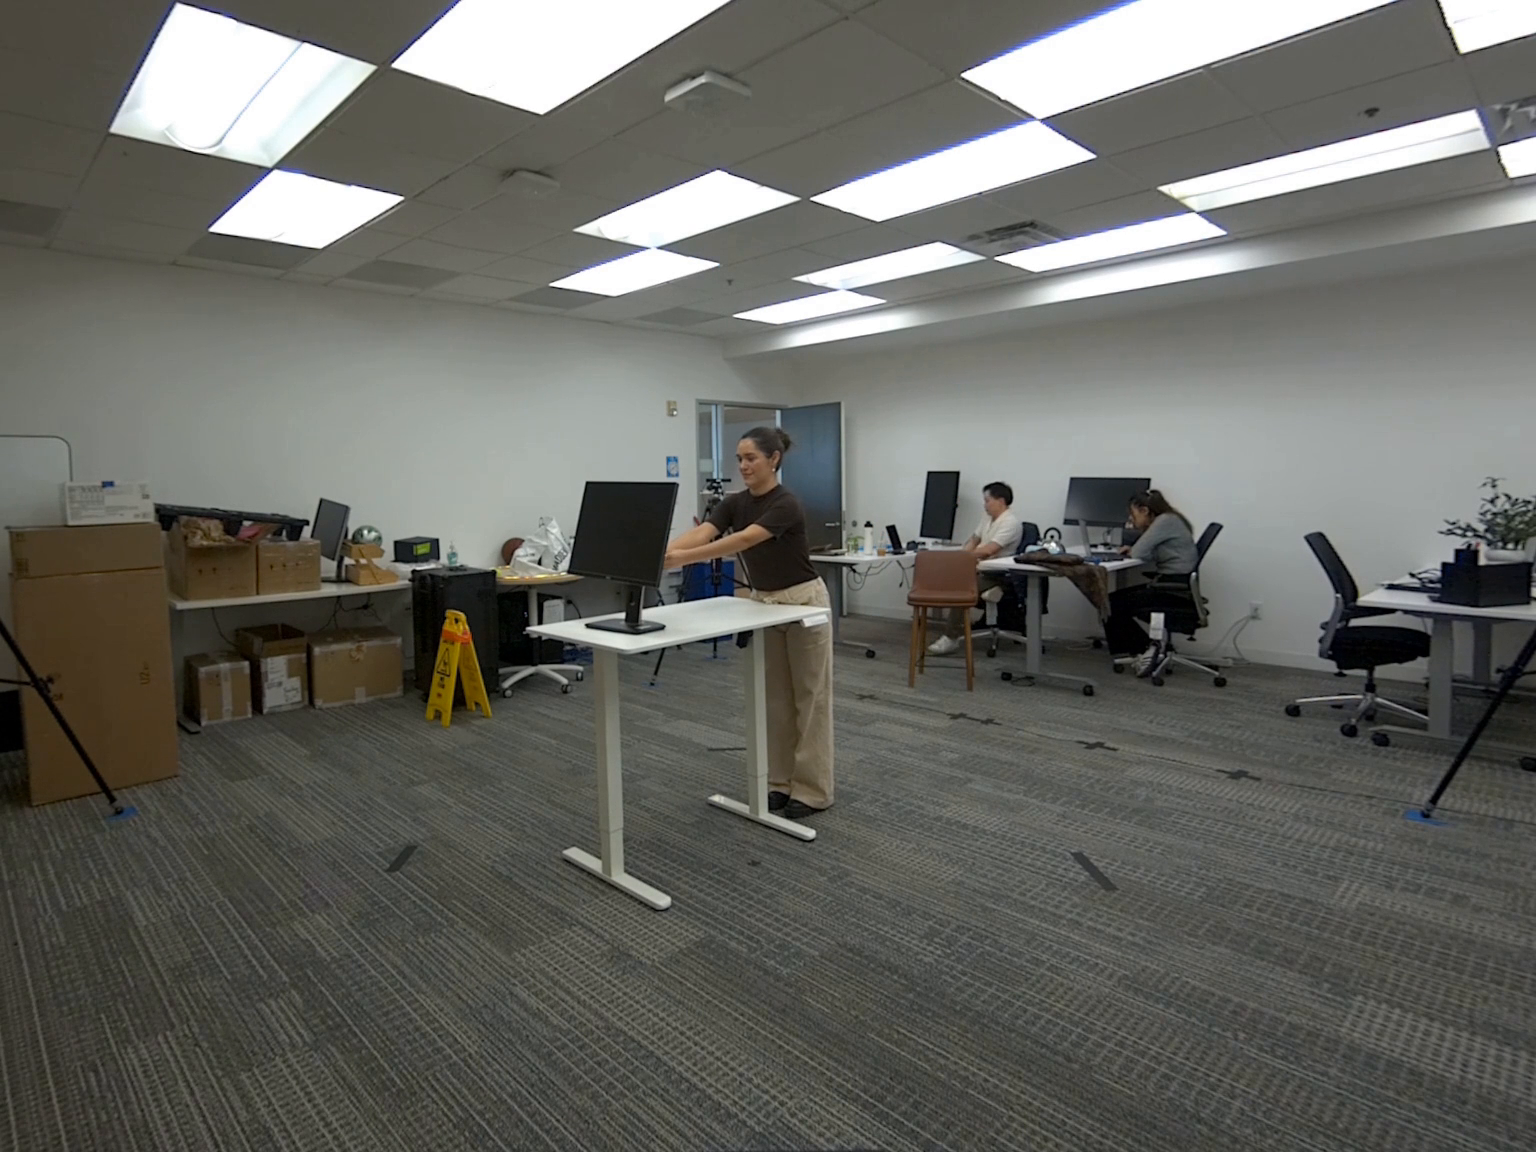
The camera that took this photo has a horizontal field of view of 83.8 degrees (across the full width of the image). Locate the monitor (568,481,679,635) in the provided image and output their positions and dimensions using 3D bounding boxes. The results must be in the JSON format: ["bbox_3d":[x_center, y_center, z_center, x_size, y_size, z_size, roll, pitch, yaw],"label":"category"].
[{"bbox_3d":[-0.497,-0.068,2.999,0.556,0.521,0.182,5,4,44],"label":"monitor"}]
